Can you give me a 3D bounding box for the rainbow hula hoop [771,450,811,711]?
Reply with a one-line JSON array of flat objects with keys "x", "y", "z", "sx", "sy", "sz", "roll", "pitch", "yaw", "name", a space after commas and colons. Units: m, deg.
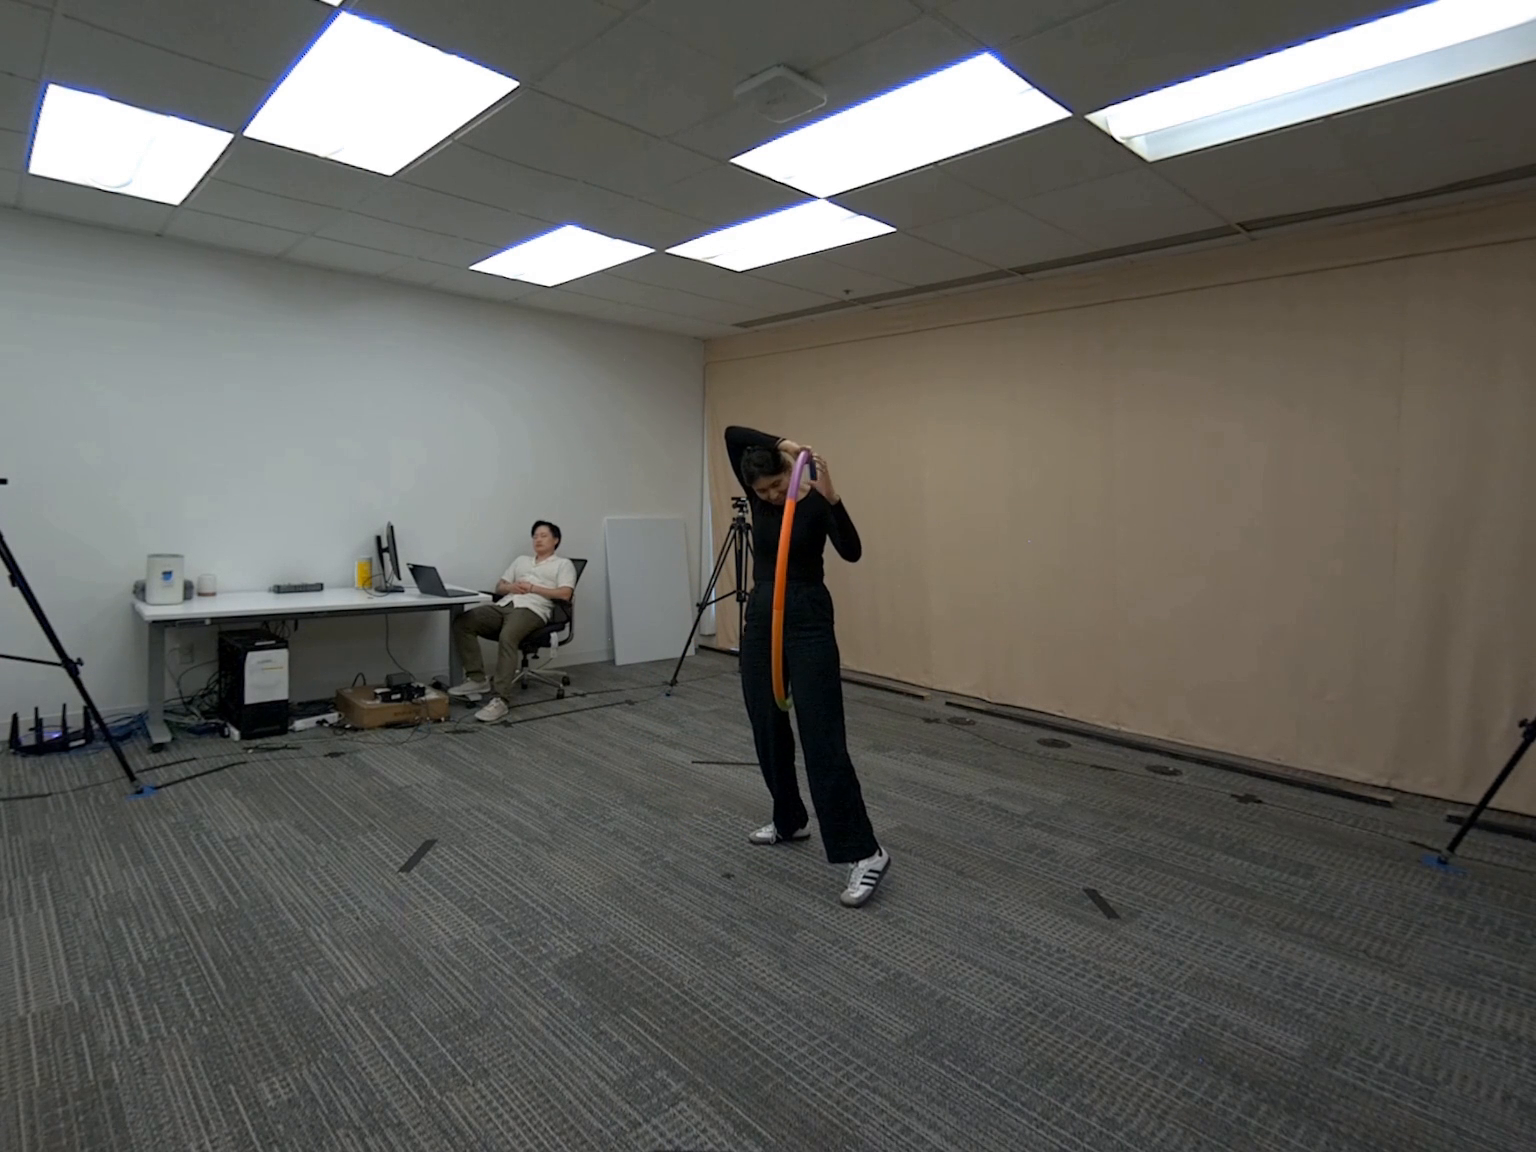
[{"x": 0.116, "y": 0.012, "z": 3.195, "sx": 0.036, "sy": 0.976, "sz": 0.973, "roll": 4, "pitch": 5, "yaw": 9, "name": "rainbow hula hoop"}]
